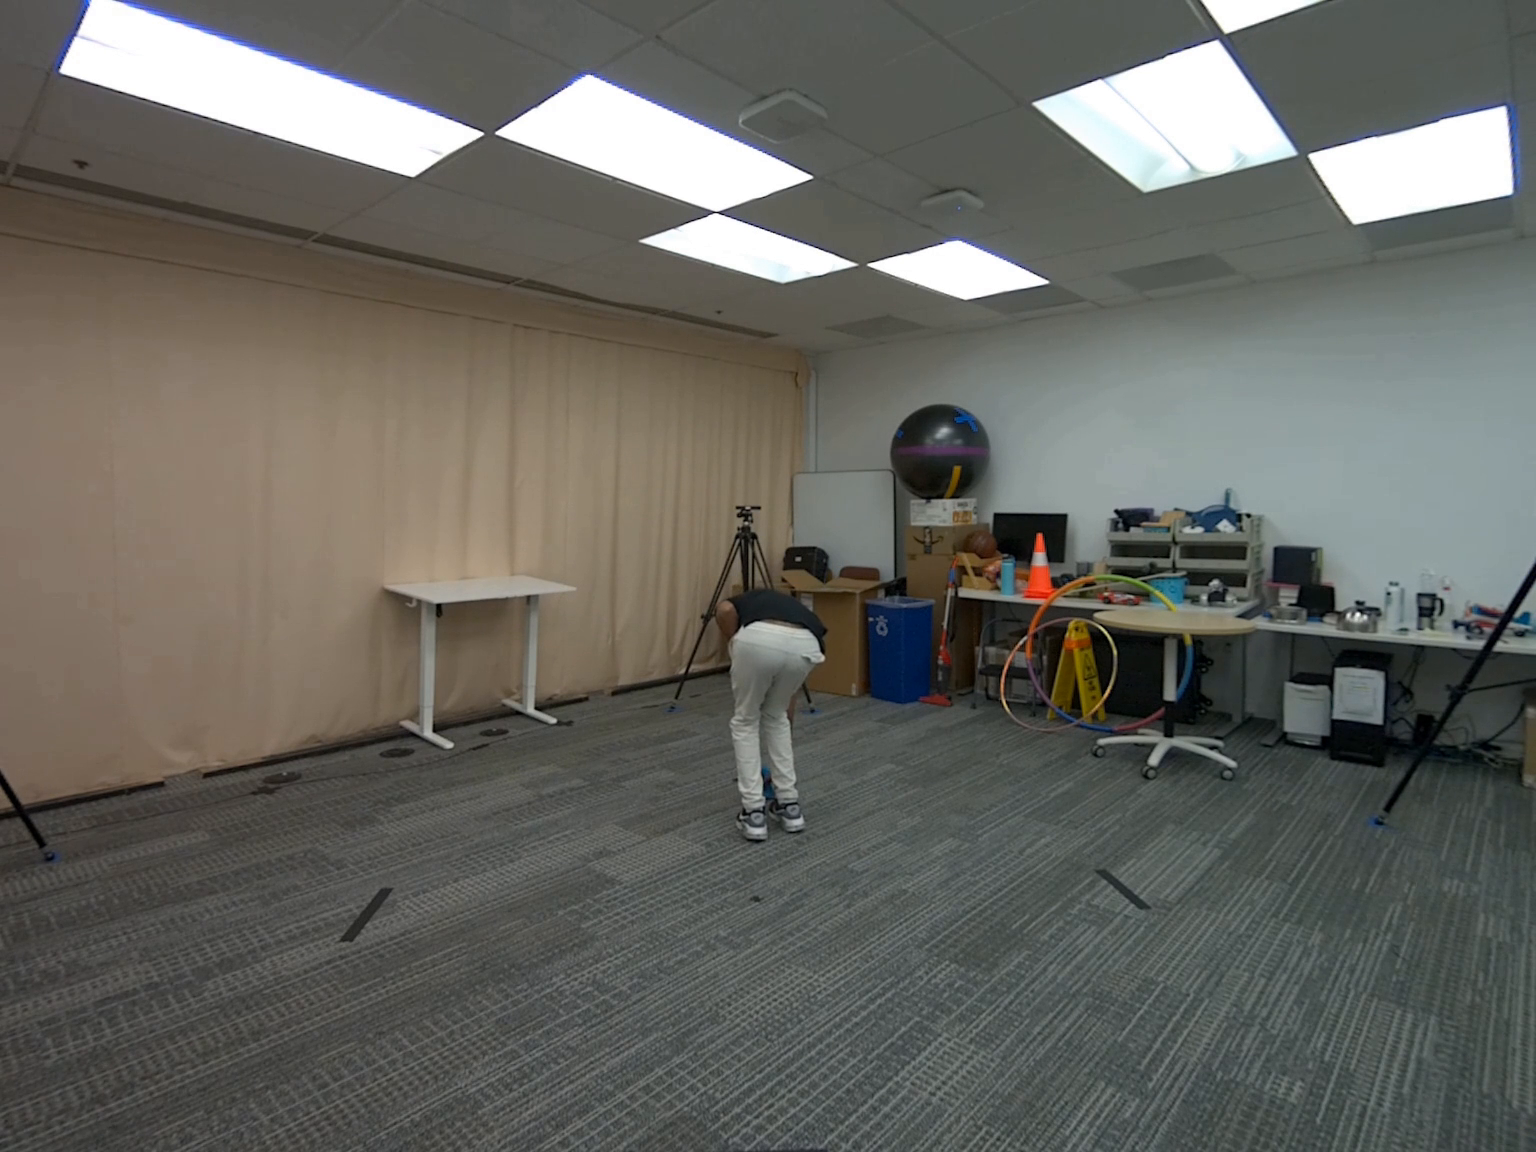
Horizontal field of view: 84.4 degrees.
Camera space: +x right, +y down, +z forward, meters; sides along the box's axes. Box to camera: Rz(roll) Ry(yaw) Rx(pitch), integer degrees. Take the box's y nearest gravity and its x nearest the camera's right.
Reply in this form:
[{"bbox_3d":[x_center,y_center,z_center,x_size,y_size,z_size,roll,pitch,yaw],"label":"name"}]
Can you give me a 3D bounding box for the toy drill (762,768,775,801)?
[{"bbox_3d":[-0.041,0.986,4.034,0.170,0.146,0.061,-7,1,5],"label":"toy drill"}]
